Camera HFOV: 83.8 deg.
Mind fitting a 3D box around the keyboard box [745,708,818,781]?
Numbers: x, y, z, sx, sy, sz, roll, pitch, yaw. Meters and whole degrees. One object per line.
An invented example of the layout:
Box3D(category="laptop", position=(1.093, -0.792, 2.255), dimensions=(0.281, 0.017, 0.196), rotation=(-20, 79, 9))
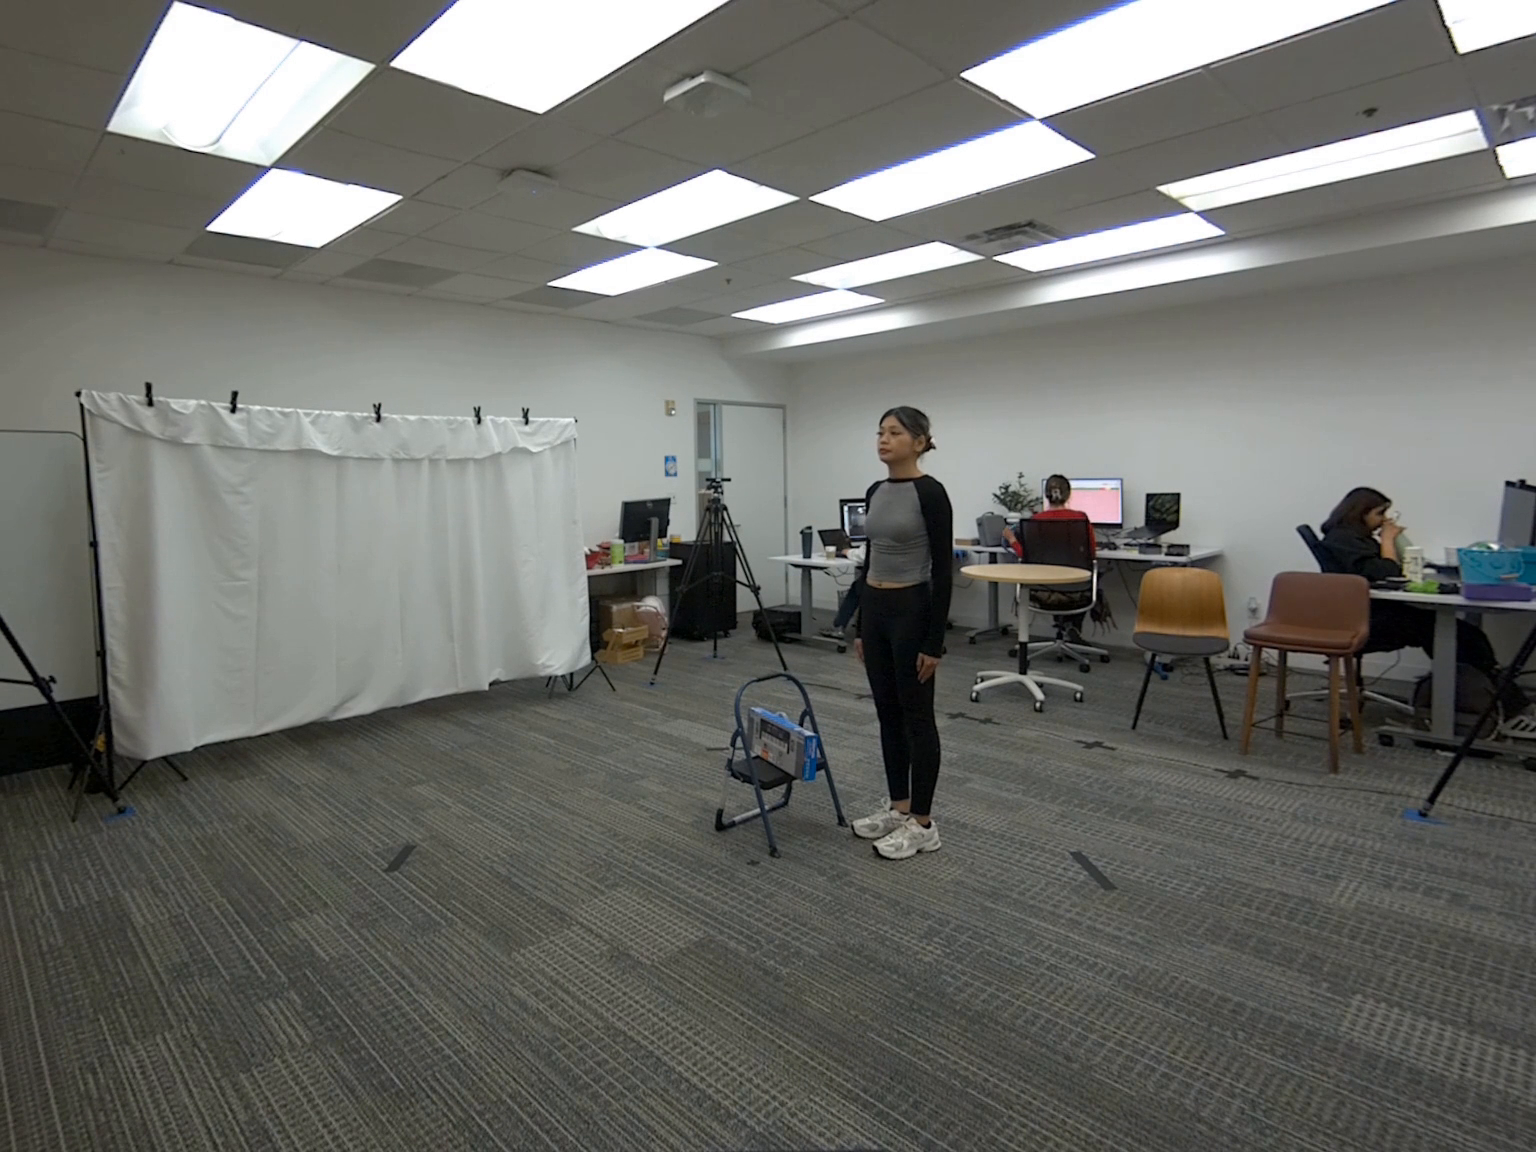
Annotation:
Box3D(category="keyboard box", position=(0.048, 0.658, 3.395), dimensions=(0.057, 0.175, 0.449), rotation=(4, 4, -29))
